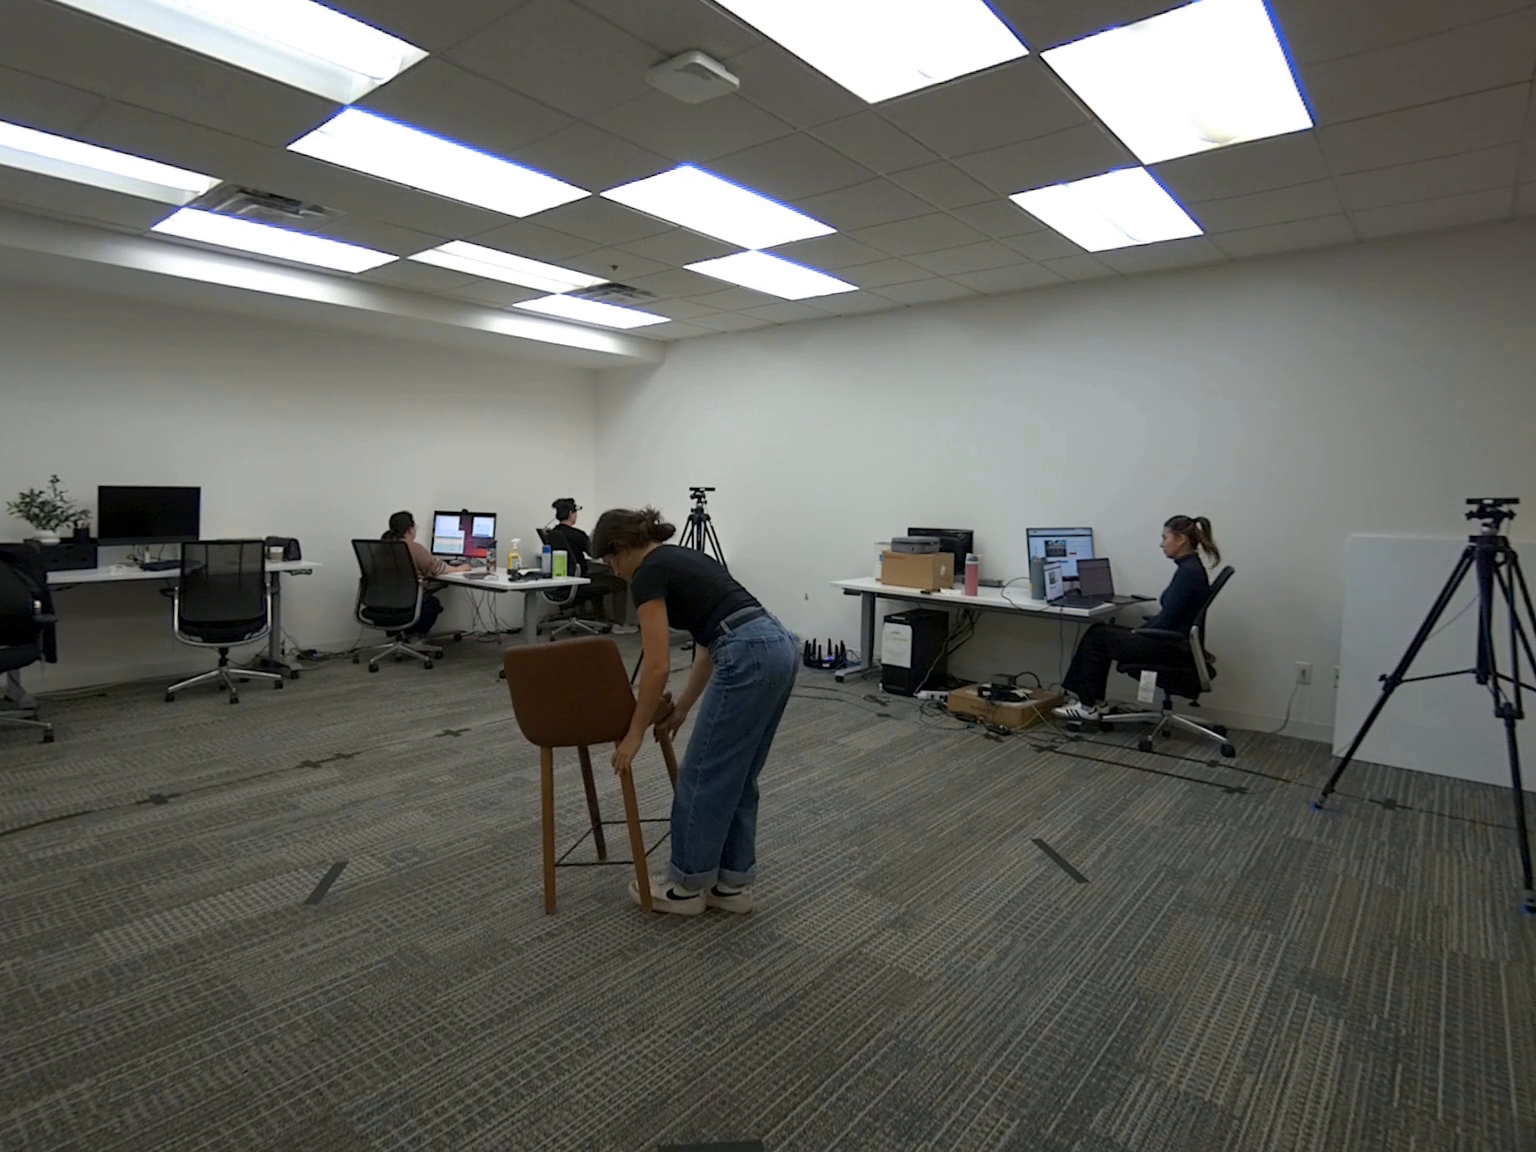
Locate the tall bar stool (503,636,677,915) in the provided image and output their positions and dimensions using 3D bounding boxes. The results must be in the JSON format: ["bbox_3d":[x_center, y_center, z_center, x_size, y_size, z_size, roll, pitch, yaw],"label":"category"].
[{"bbox_3d":[-0.582,0.621,2.911,0.464,0.888,0.461,-10,2,18],"label":"tall bar stool"}]
